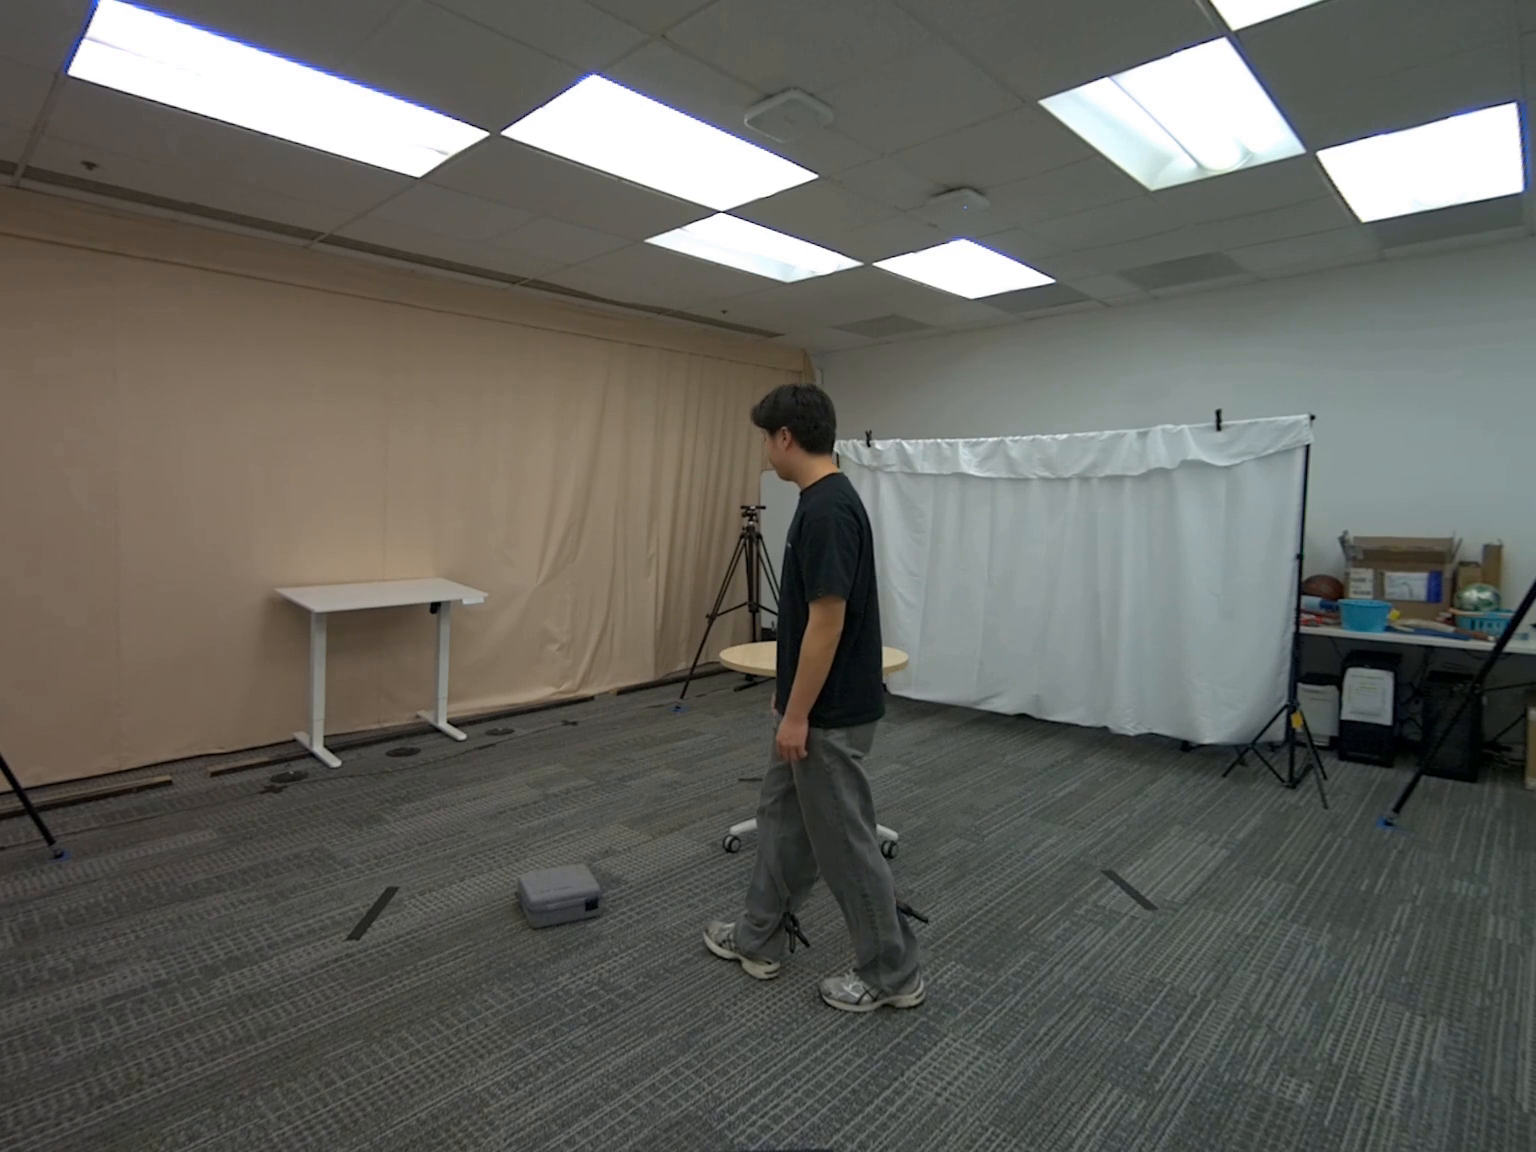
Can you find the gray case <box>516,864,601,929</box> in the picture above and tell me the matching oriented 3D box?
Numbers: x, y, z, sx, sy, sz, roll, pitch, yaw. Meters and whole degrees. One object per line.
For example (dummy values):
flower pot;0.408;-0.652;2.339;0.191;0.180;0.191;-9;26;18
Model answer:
gray case;-0.729;1.101;2.924;0.257;0.103;0.294;-2;4;-24
